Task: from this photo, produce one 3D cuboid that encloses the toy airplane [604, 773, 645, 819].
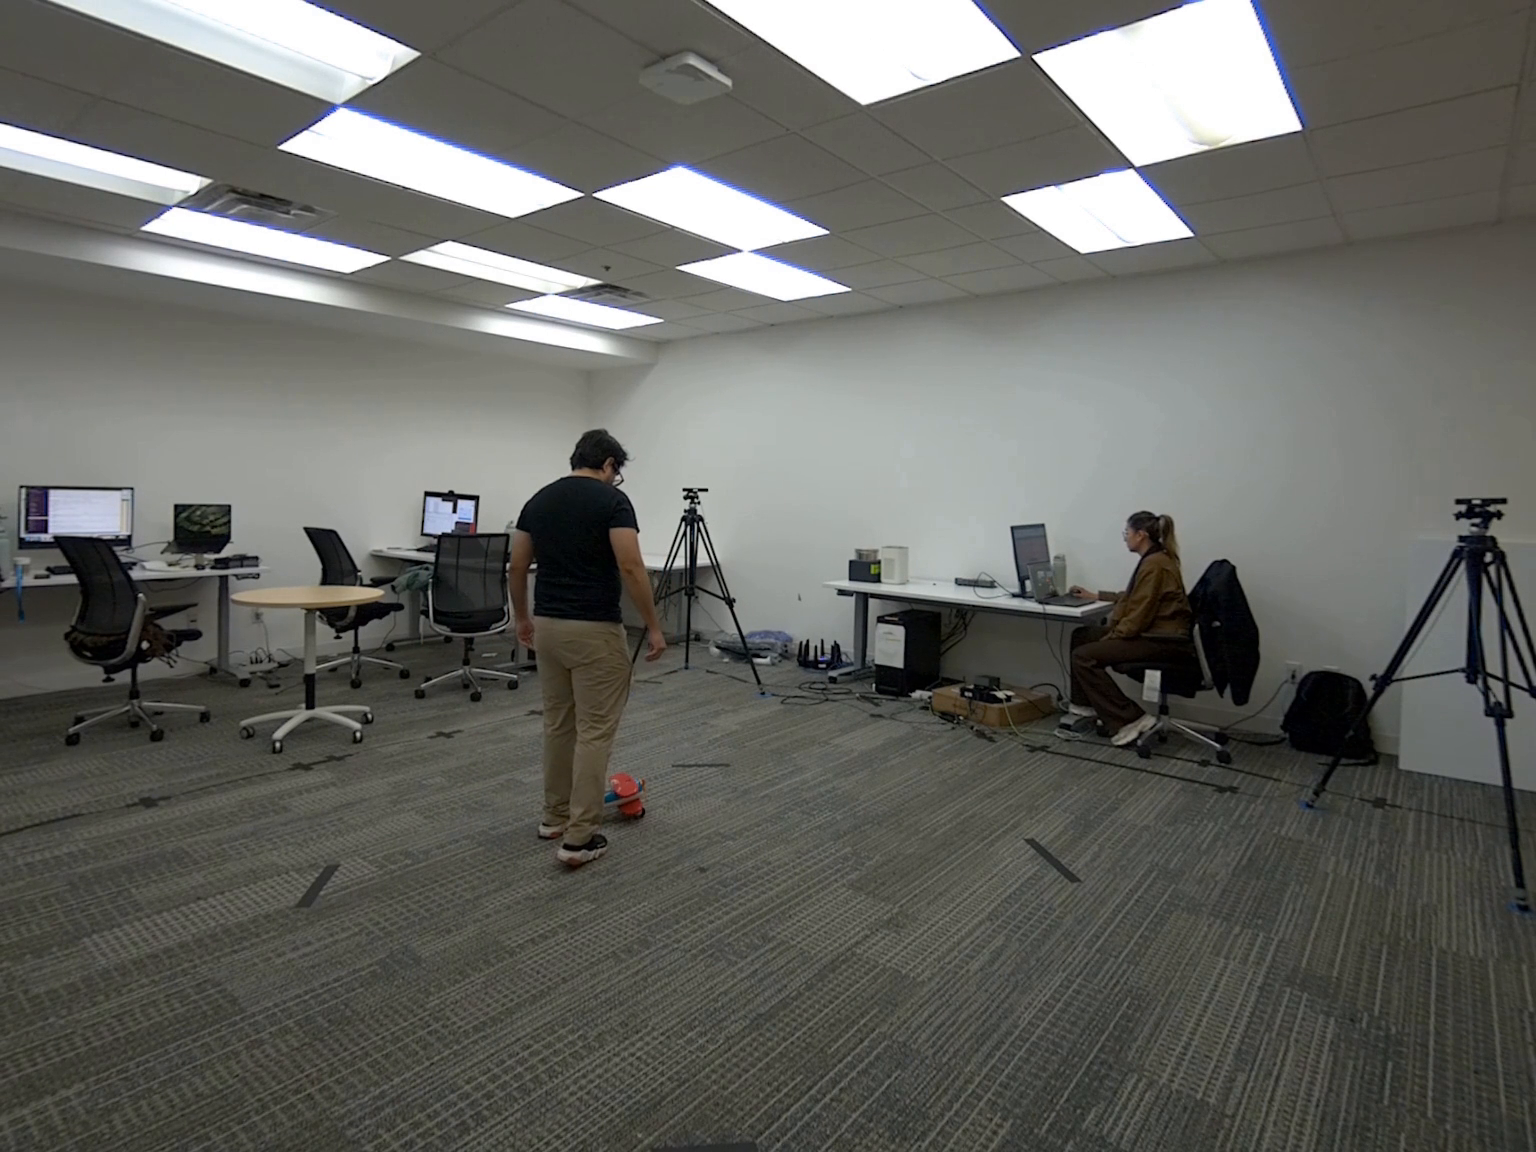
[{"bbox_3d":[-0.643,0.945,3.578,0.259,0.156,0.251,3,4,39],"label":"toy airplane"}]
